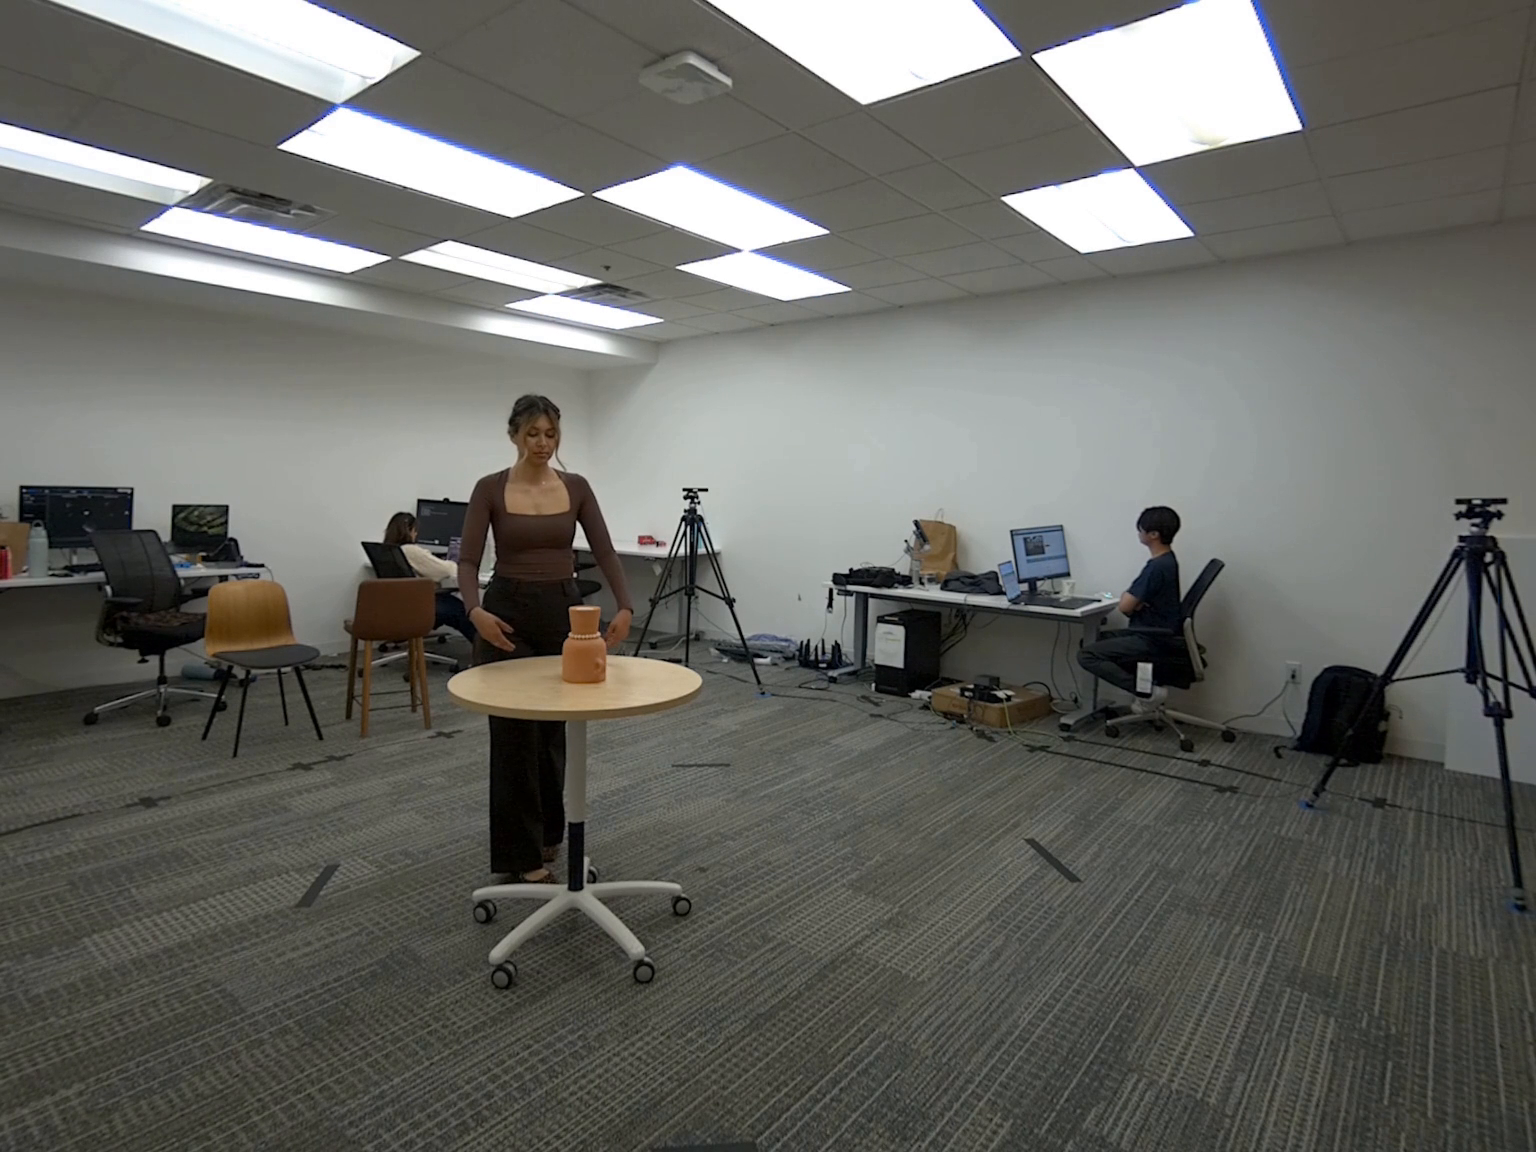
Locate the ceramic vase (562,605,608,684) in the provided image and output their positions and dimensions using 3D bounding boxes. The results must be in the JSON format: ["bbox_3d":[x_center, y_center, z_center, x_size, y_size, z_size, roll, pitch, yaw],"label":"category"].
[{"bbox_3d":[-0.575,0.206,2.609,0.160,0.219,0.134,1,5,4],"label":"ceramic vase"}]
